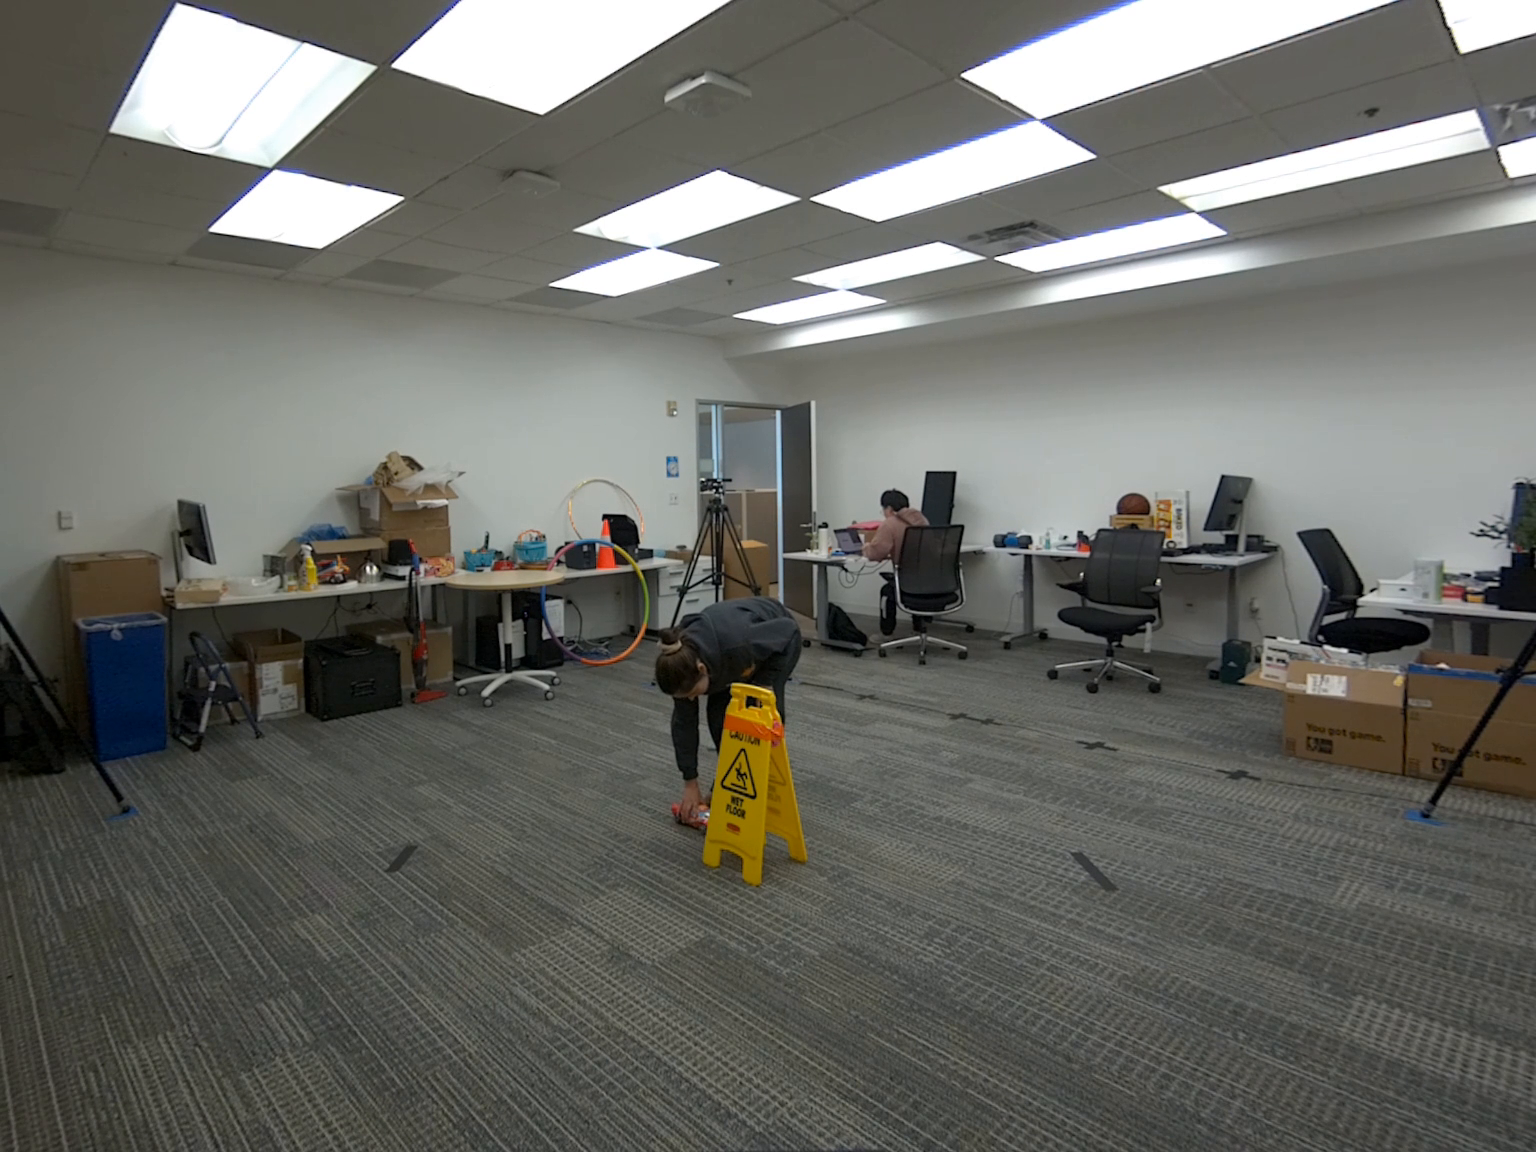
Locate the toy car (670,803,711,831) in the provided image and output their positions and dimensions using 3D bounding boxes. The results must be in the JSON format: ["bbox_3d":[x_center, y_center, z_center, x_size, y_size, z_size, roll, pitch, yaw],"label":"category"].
[{"bbox_3d":[-0.295,0.977,3.452,0.127,0.082,0.264,-4,16,-43],"label":"toy car"}]
